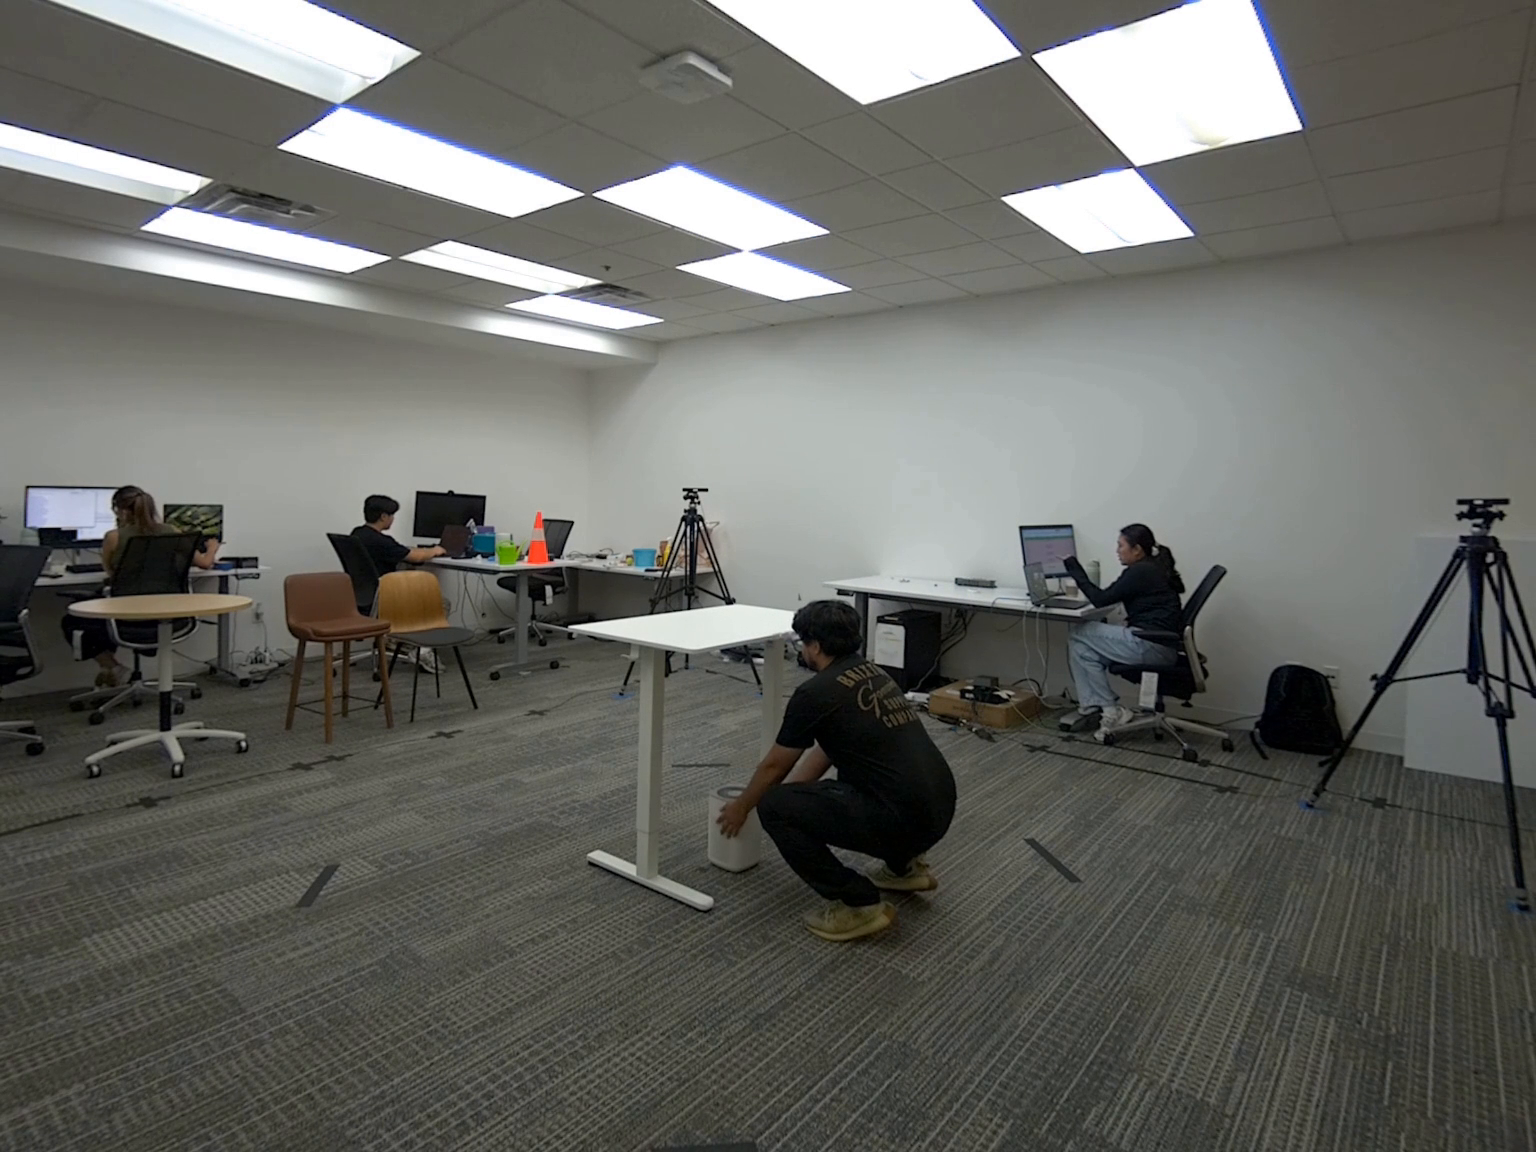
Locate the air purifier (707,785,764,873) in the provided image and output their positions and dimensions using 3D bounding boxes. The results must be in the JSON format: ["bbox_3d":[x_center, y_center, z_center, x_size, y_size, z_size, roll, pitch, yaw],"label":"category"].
[{"bbox_3d":[-0.132,0.931,3.159,0.177,0.265,0.166,2,3,38],"label":"air purifier"}]
